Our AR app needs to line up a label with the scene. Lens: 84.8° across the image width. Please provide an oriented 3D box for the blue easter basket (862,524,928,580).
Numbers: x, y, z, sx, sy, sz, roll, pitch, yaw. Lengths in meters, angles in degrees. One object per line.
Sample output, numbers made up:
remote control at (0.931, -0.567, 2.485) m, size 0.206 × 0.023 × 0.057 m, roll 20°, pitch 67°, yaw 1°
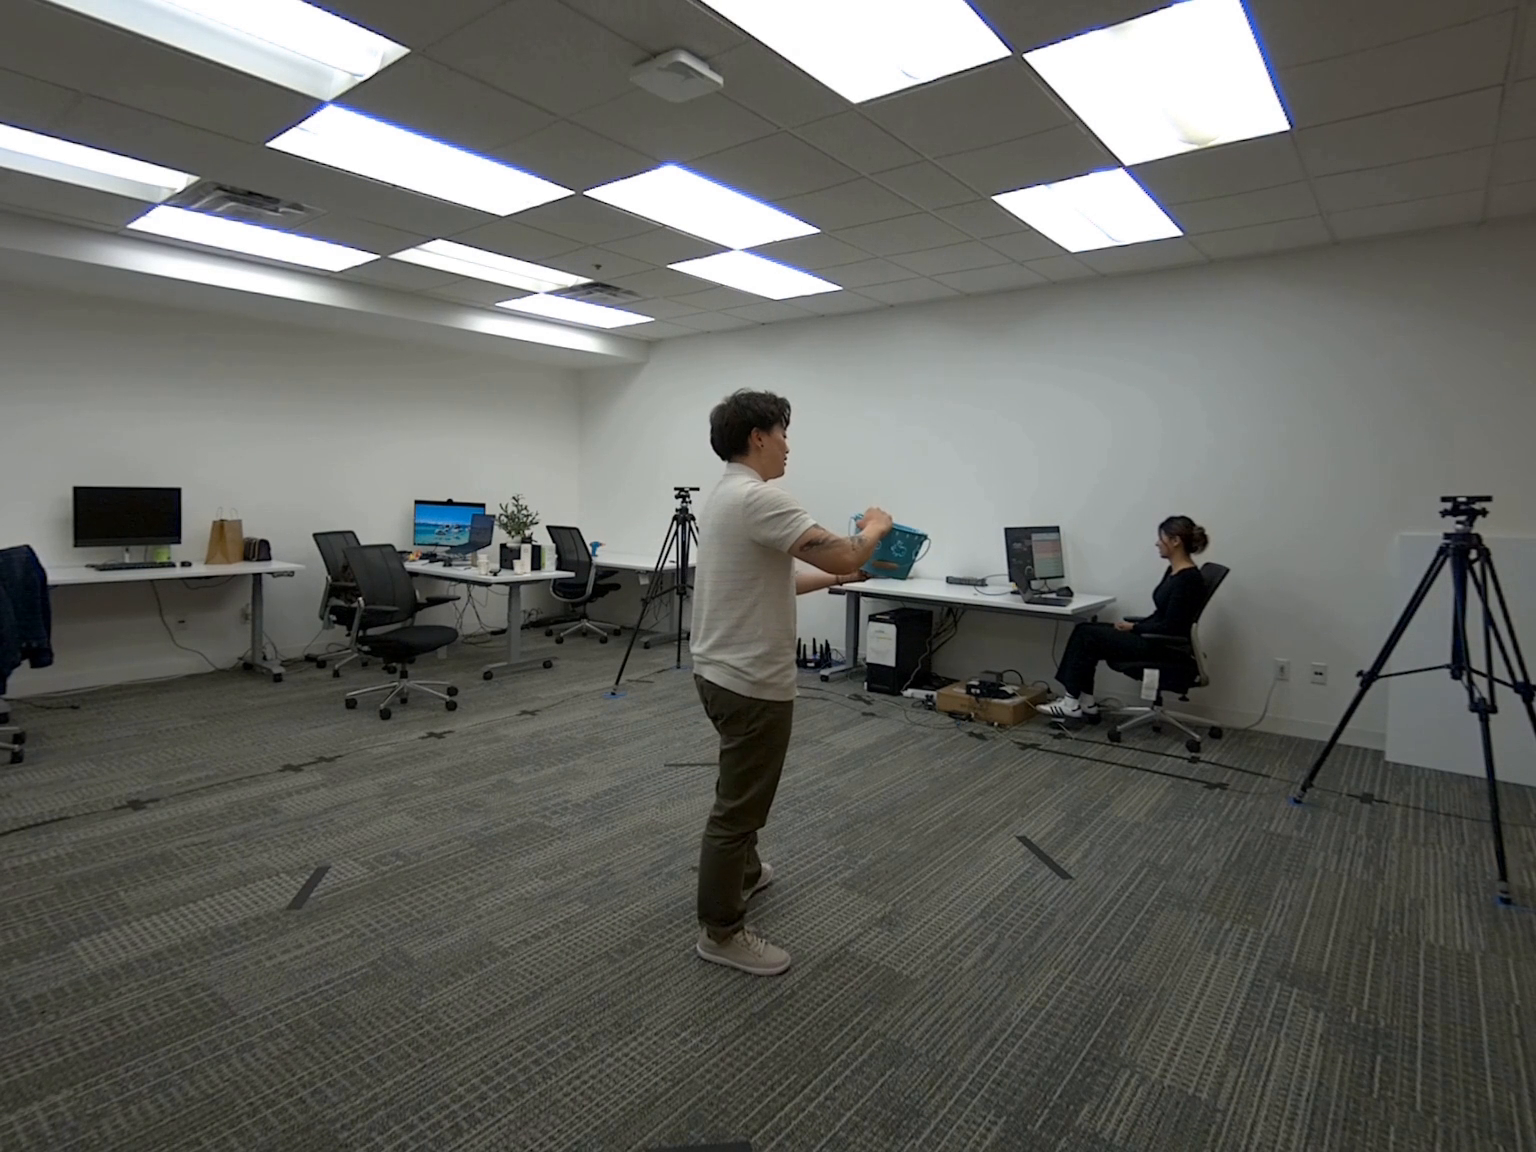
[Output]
blue easter basket at (0.351, -0.086, 2.589) m, size 0.243 × 0.155 × 0.246 m, roll 14°, pitch 8°, yaw -4°
